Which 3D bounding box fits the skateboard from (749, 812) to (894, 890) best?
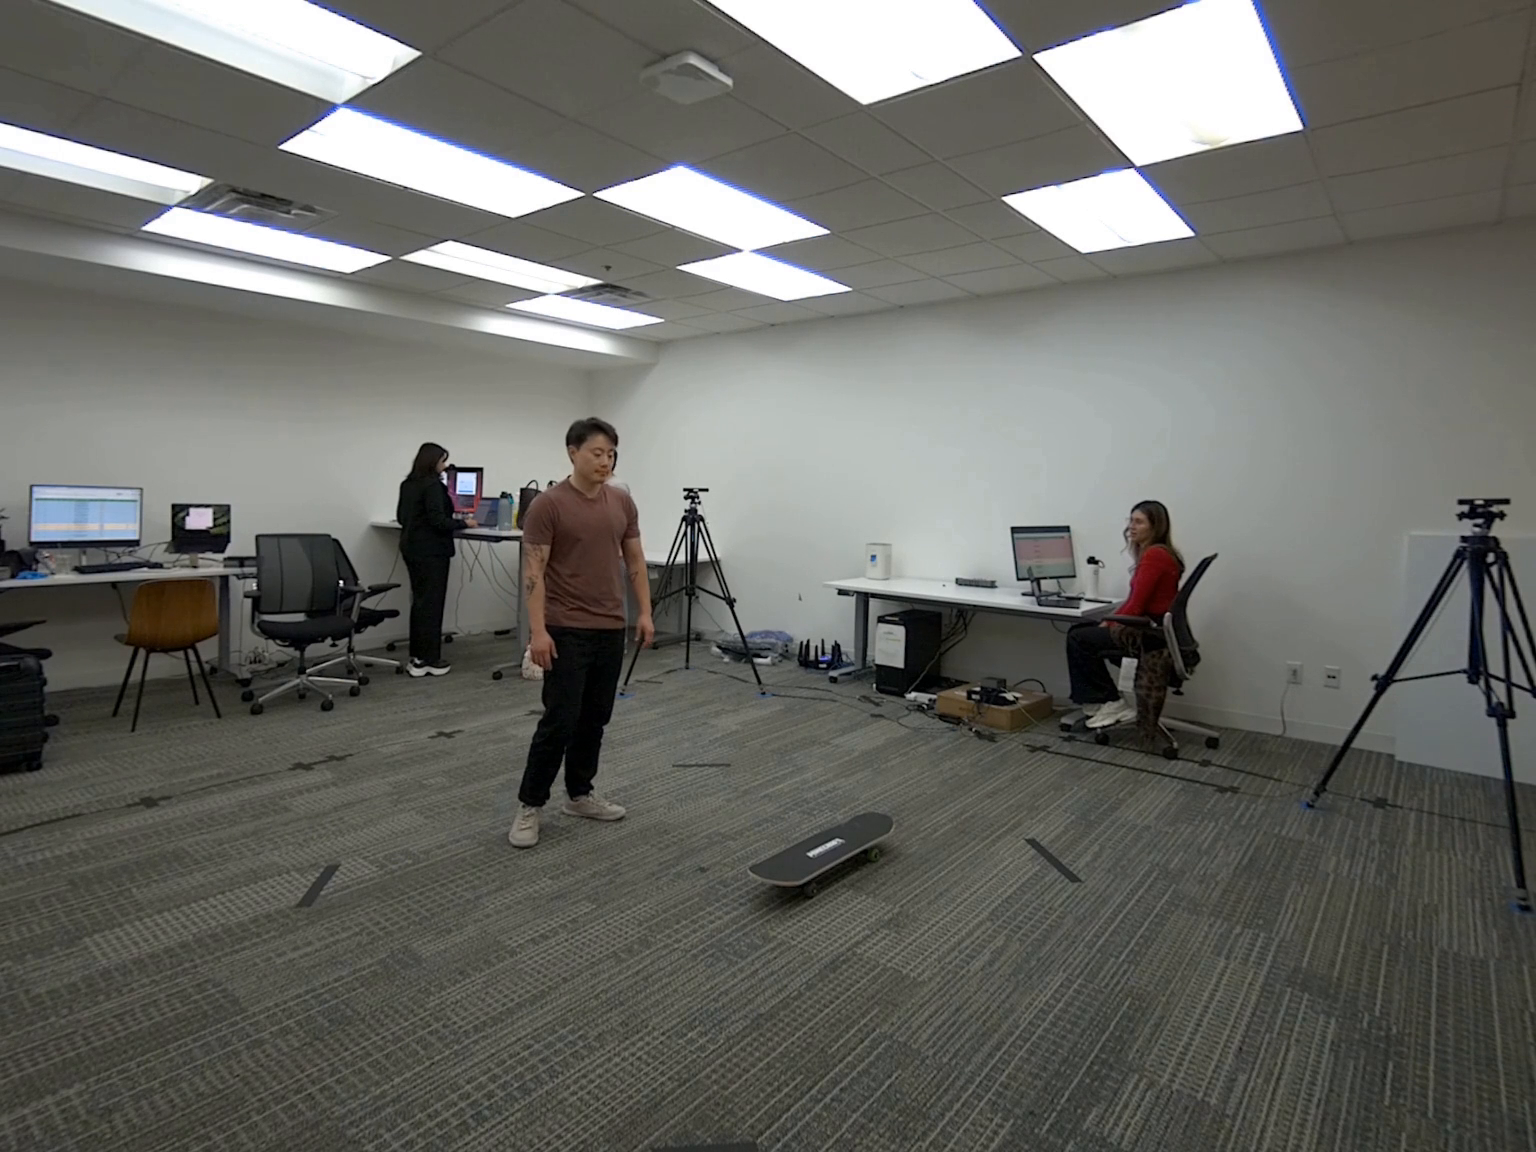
[{"bbox_3d":[0.206,1.024,3.113,0.200,0.110,0.762,4,6,40],"label":"skateboard"}]
